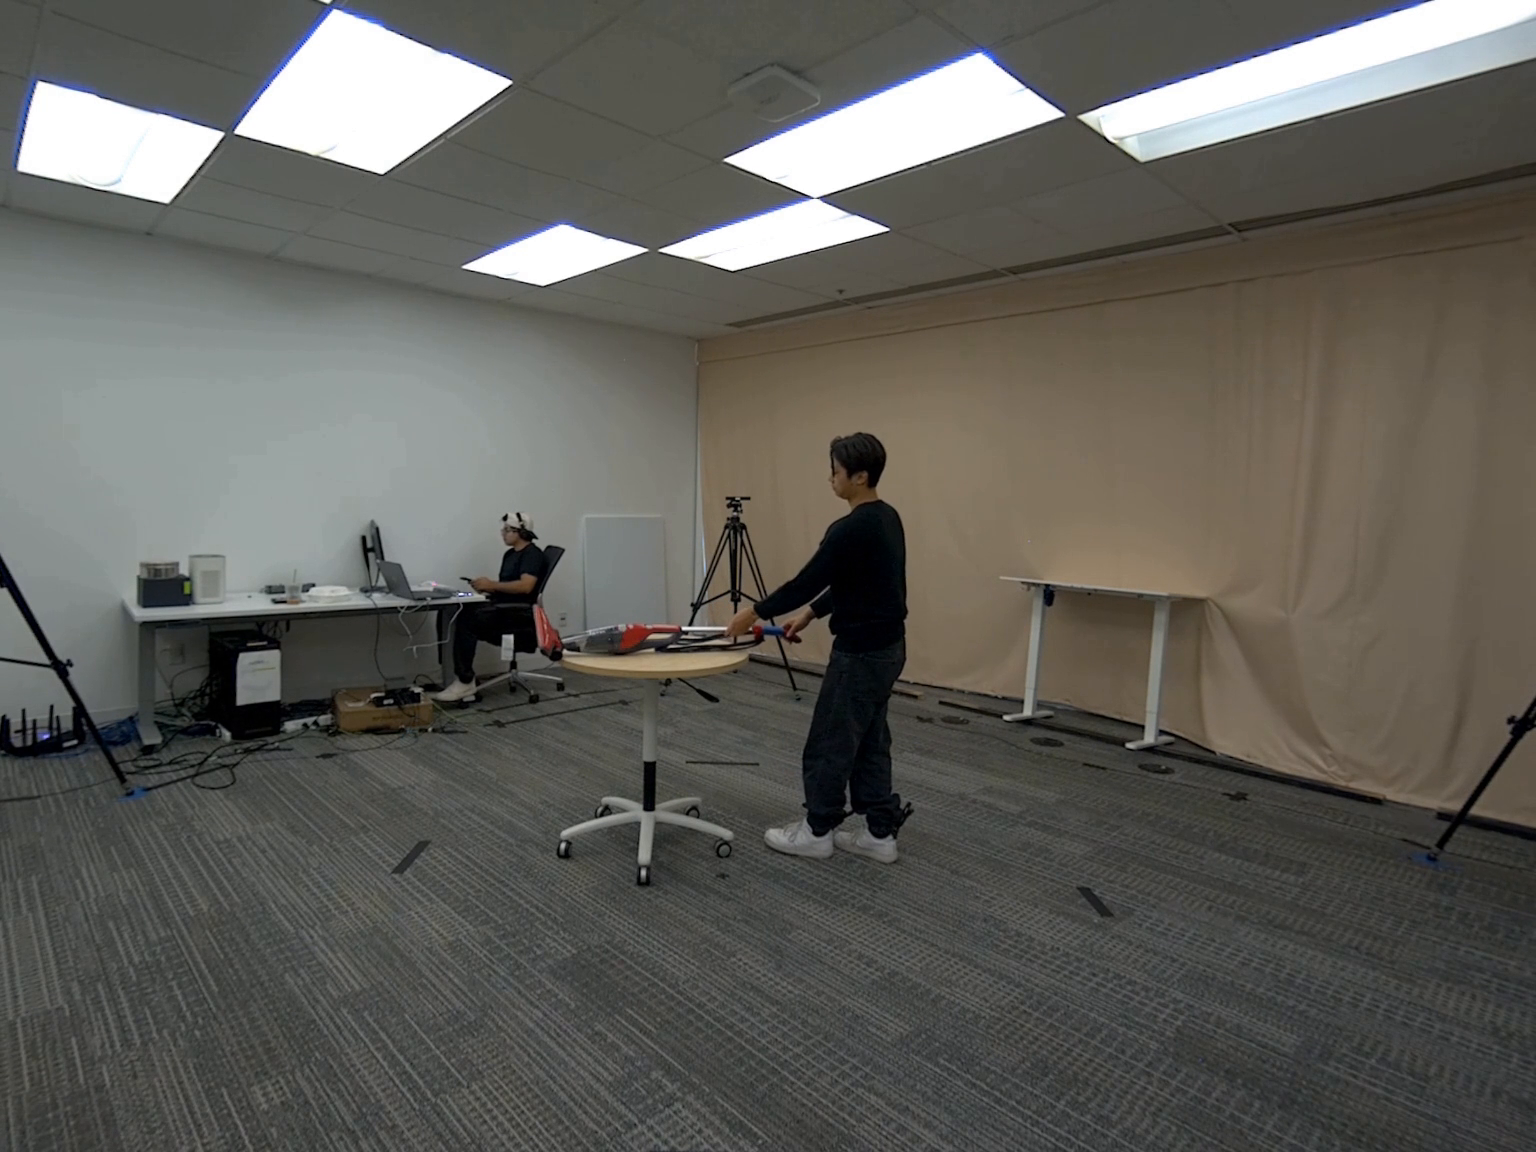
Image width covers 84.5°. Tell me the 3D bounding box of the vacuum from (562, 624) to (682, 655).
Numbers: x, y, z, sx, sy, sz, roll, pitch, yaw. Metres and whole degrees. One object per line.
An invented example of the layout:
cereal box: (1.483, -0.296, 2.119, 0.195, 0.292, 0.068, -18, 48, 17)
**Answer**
vacuum: (-0.360, 0.252, 3.310, 1.031, 0.142, 0.260, 2, 35, -22)
